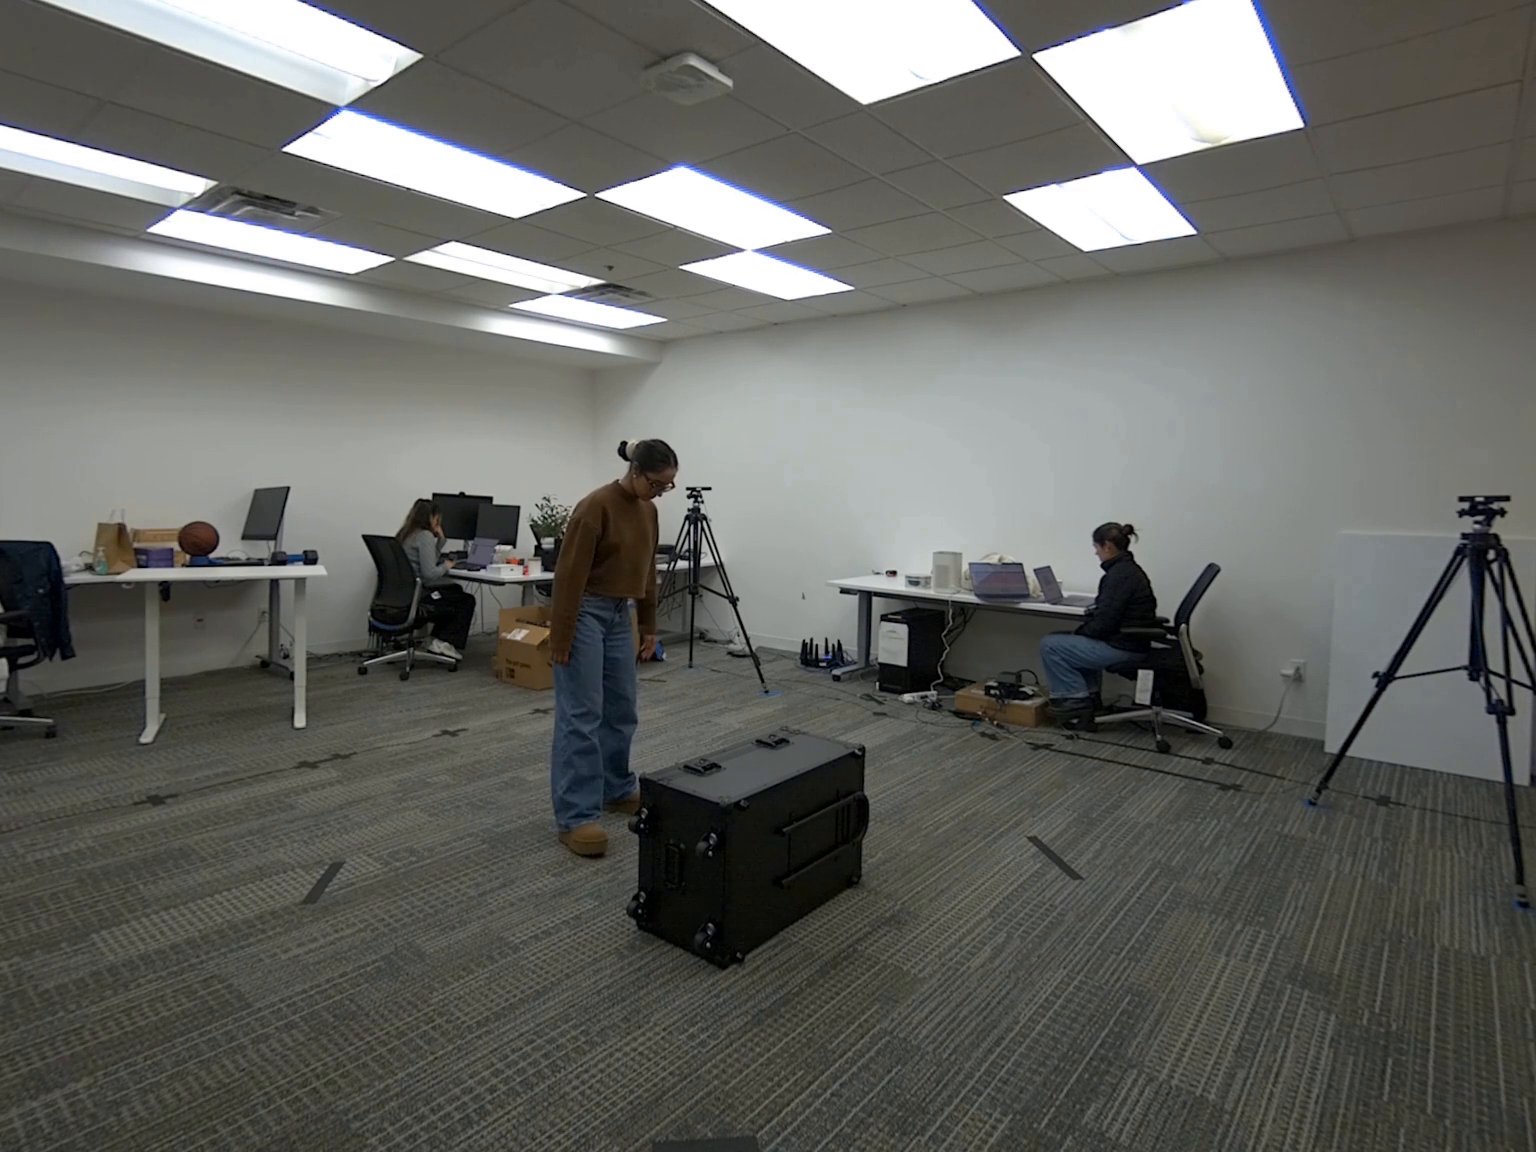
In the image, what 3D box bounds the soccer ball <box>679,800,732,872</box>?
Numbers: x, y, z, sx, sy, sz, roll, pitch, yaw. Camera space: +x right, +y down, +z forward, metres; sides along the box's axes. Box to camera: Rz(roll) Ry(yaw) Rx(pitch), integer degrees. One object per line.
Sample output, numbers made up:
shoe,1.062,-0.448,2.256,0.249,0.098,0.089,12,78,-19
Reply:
soccer ball,-0.233,0.960,3.121,0.187,0.187,0.188,1,4,-2
